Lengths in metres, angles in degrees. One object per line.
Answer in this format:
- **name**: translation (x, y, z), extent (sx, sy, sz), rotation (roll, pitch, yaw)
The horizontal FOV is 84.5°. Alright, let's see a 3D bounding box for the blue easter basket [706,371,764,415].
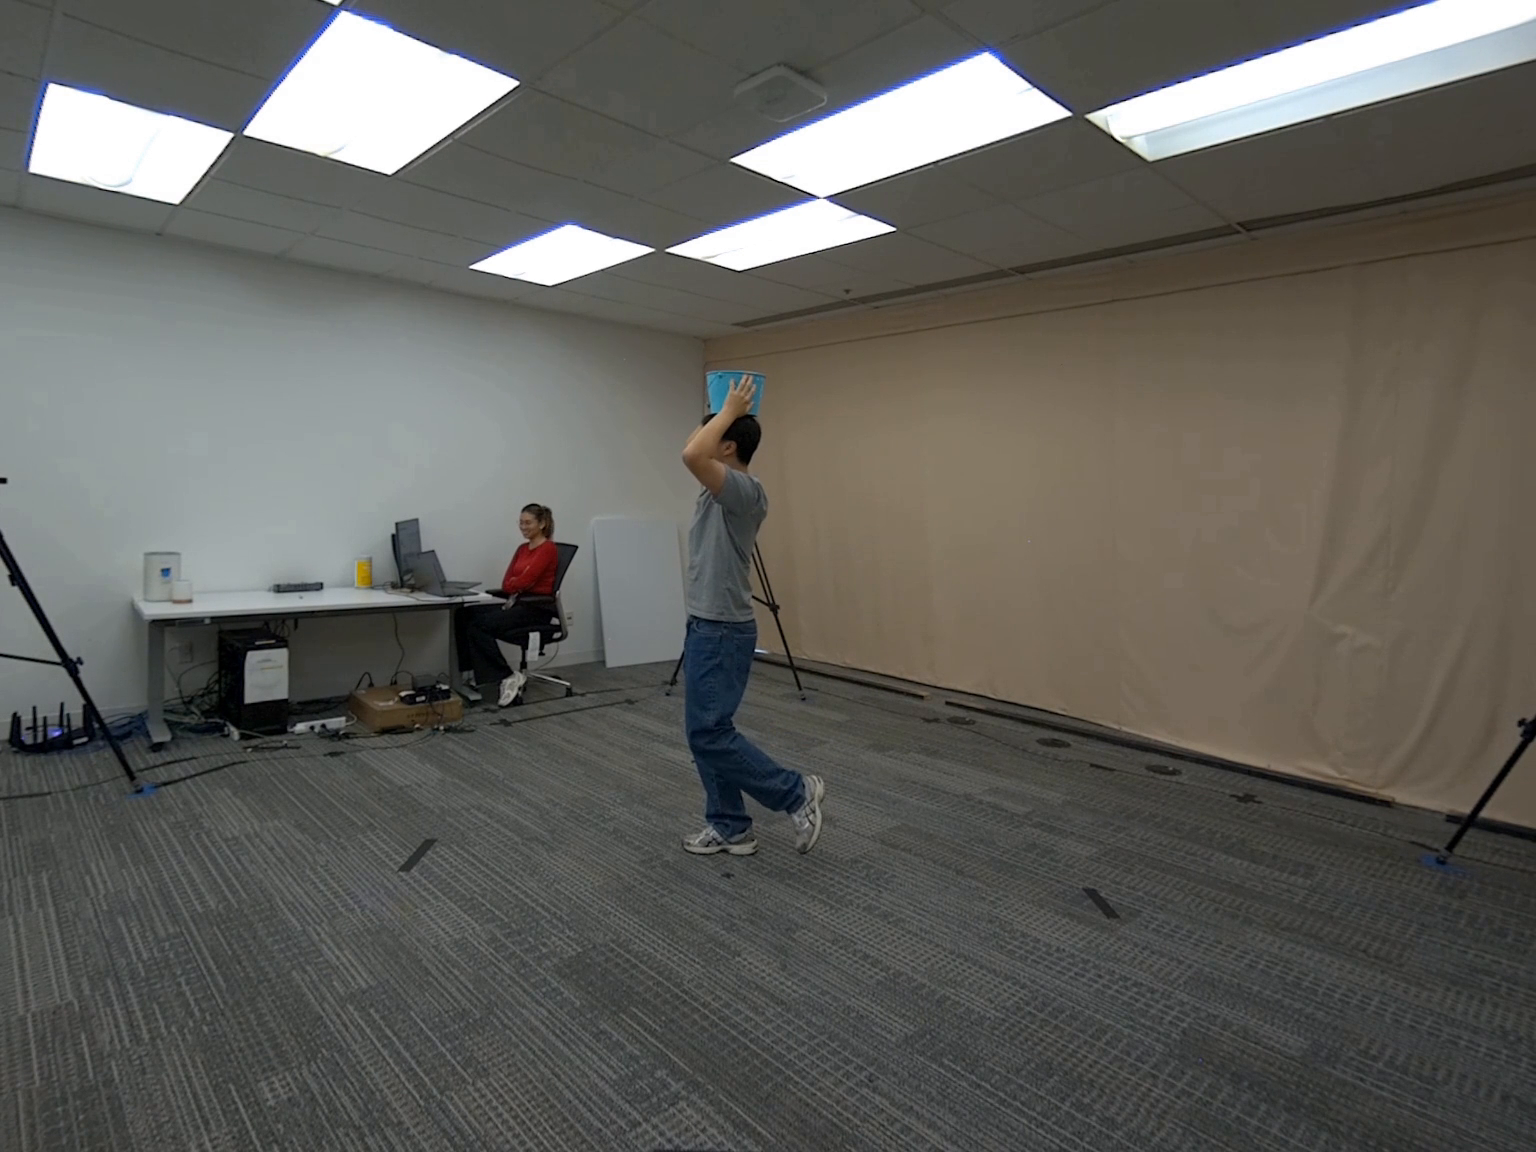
- **blue easter basket**: translation (-0.133, -0.695, 3.240), extent (0.243, 0.155, 0.245), rotation (5, 6, -2)
